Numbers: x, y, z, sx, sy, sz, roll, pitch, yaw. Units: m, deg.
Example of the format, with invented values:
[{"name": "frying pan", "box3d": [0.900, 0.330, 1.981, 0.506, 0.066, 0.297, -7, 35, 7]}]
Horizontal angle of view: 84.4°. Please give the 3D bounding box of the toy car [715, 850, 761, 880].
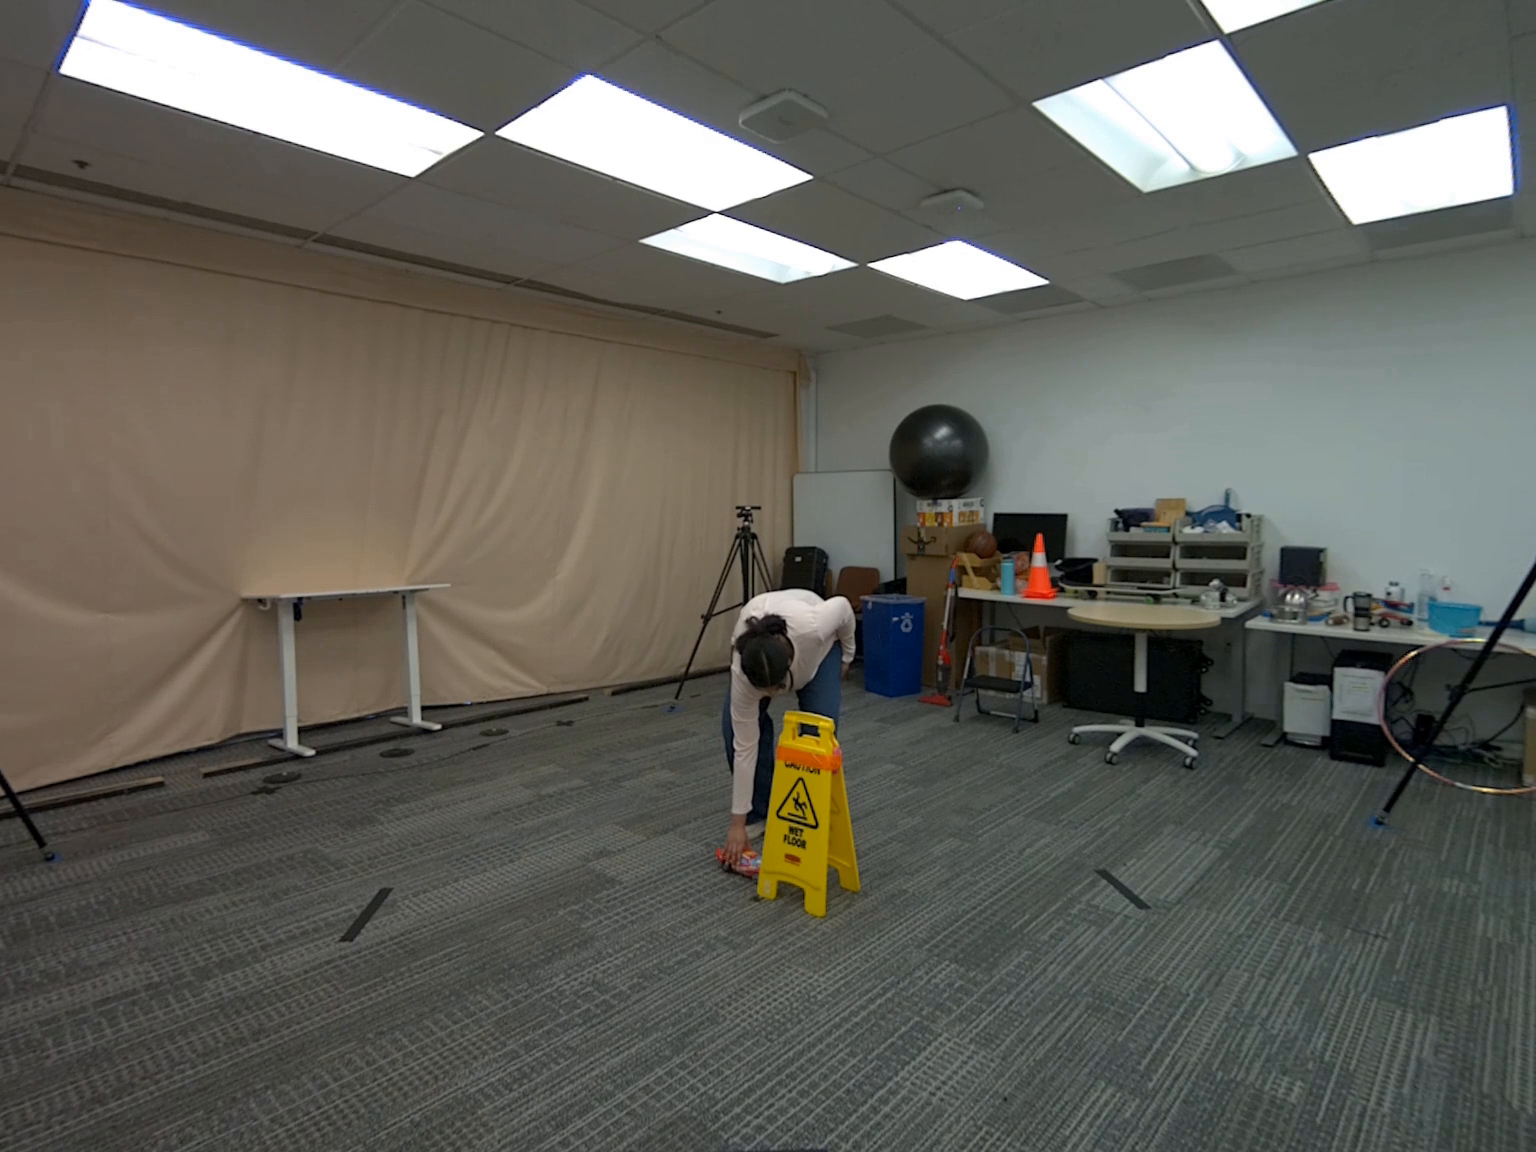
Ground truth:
[{"name": "toy car", "box3d": [-0.082, 1.090, 3.207, 0.264, 0.083, 0.126, 19, 15, 38]}]
